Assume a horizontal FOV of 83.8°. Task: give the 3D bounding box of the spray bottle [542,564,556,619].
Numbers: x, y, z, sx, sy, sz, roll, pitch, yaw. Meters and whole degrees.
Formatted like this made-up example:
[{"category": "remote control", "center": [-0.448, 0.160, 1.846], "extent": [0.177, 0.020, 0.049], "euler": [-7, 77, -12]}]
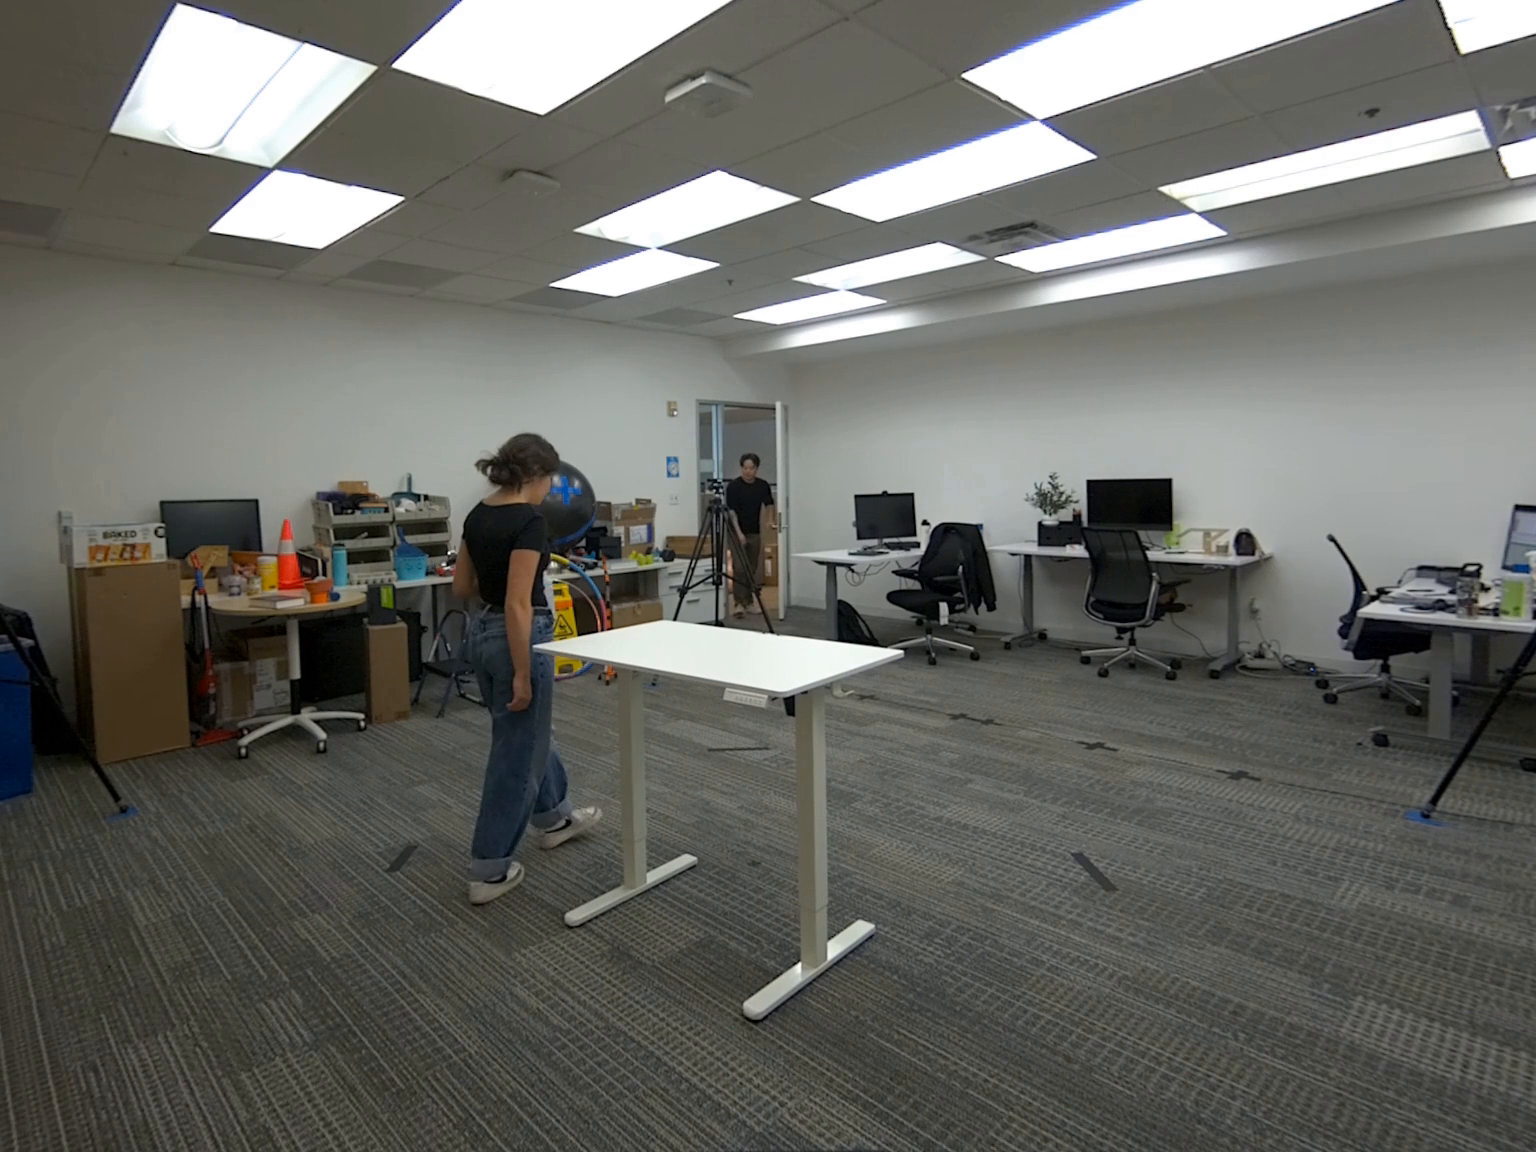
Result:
[{"category": "spray bottle", "center": [-0.855, 0.032, 3.231], "extent": [0.089, 0.295, 0.088], "euler": [2, 9, 41]}]
